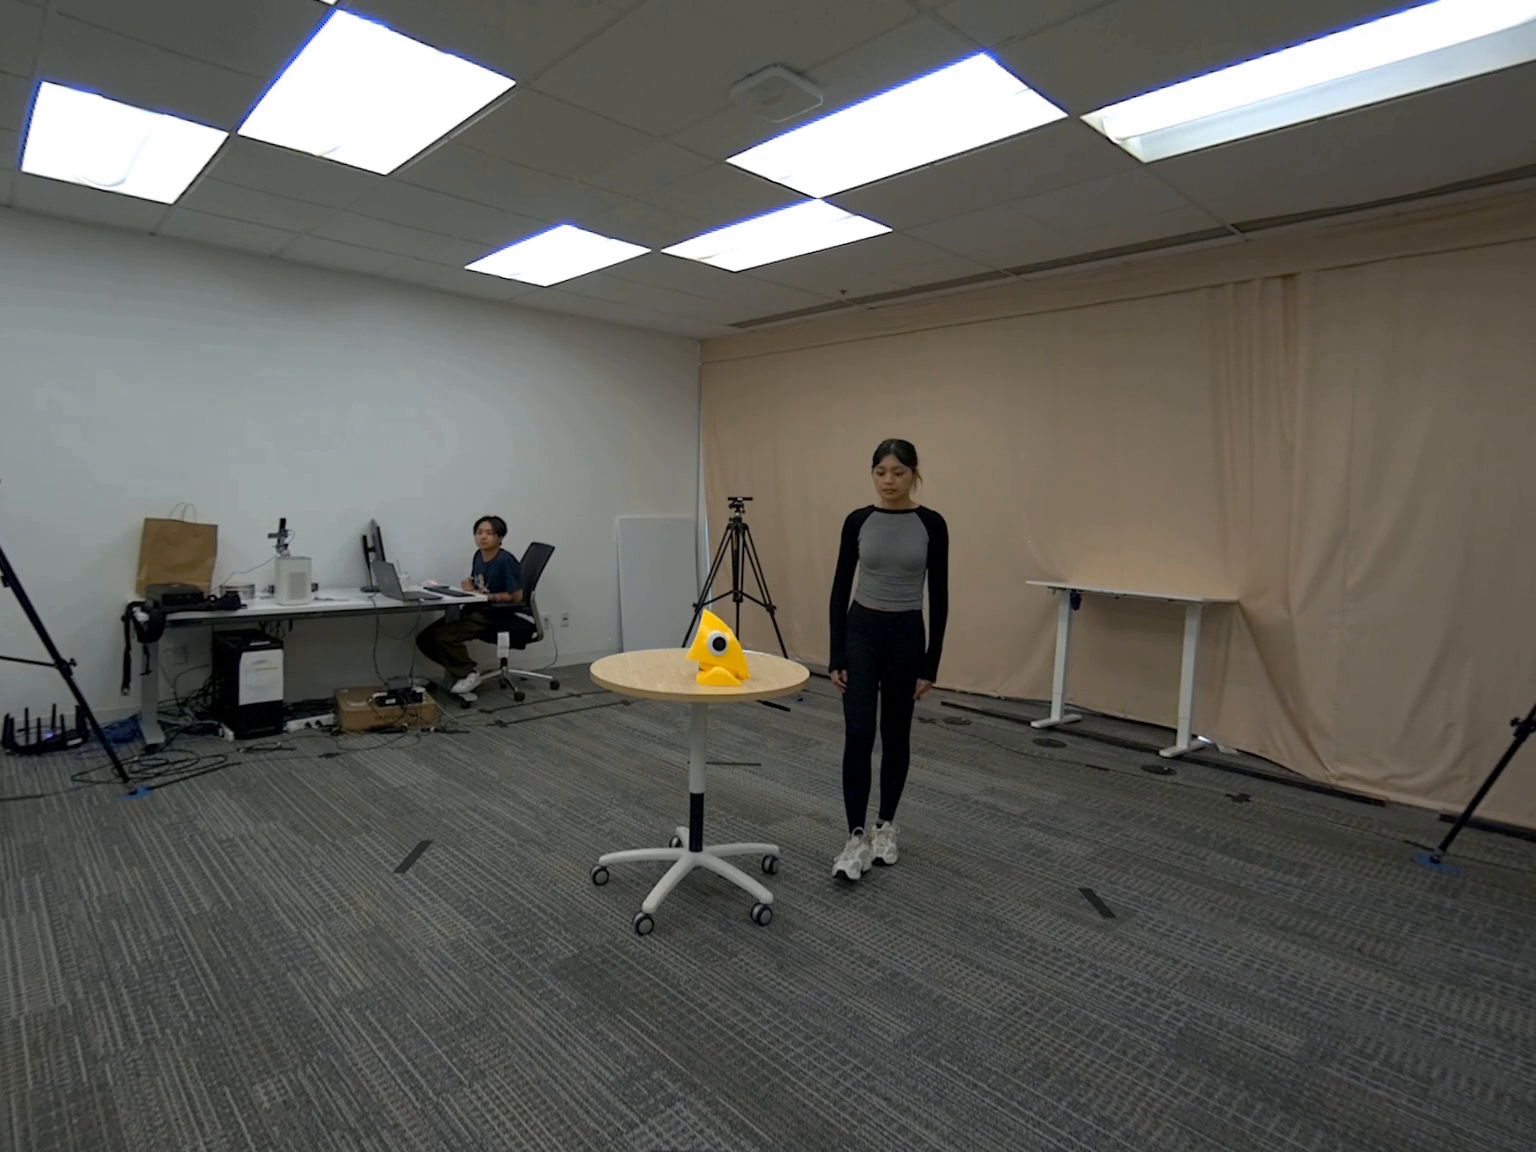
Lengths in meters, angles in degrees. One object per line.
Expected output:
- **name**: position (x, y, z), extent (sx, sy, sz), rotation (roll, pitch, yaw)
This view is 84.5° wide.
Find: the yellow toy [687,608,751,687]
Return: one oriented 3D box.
- **yellow toy**: position (-0.164, 0.229, 2.785), extent (0.195, 0.230, 0.203), rotation (2, 4, 14)
